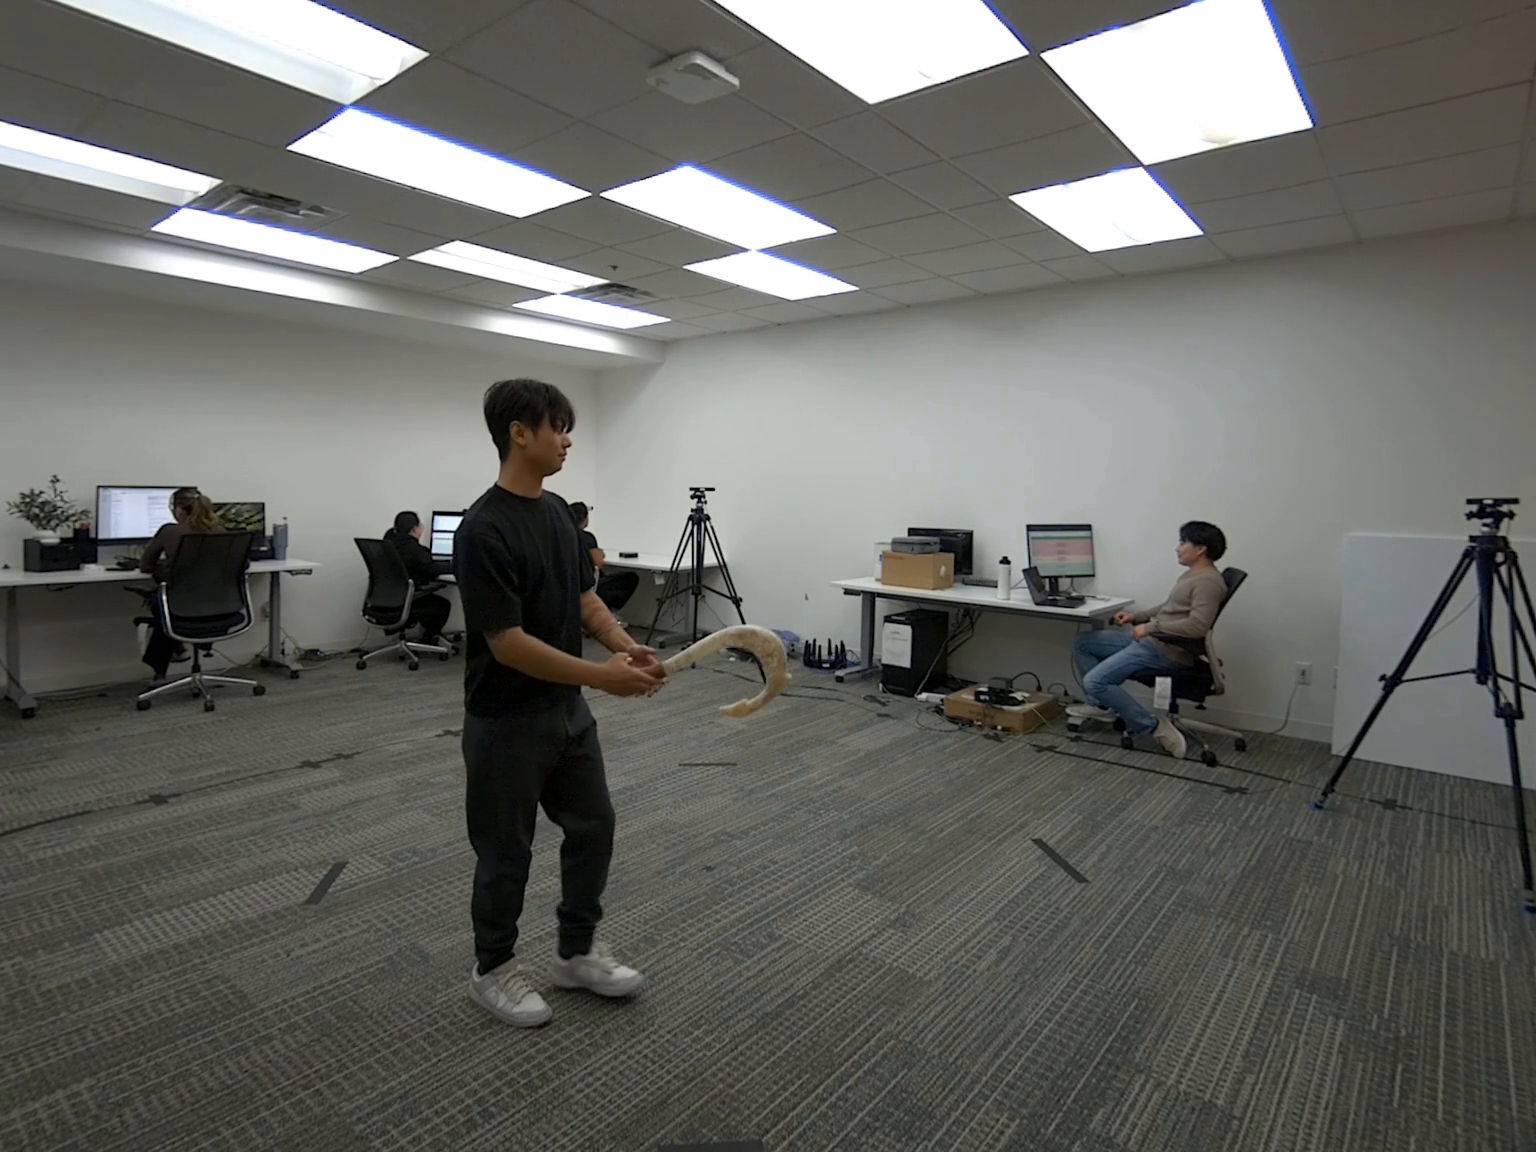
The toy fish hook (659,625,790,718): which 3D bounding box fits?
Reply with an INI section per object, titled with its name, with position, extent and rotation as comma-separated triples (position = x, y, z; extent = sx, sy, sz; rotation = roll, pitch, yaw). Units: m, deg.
[toy fish hook]
position = -0.229, 0.293, 2.137
extent = 0.509, 0.226, 0.048
rotation = -12, -5, 5
